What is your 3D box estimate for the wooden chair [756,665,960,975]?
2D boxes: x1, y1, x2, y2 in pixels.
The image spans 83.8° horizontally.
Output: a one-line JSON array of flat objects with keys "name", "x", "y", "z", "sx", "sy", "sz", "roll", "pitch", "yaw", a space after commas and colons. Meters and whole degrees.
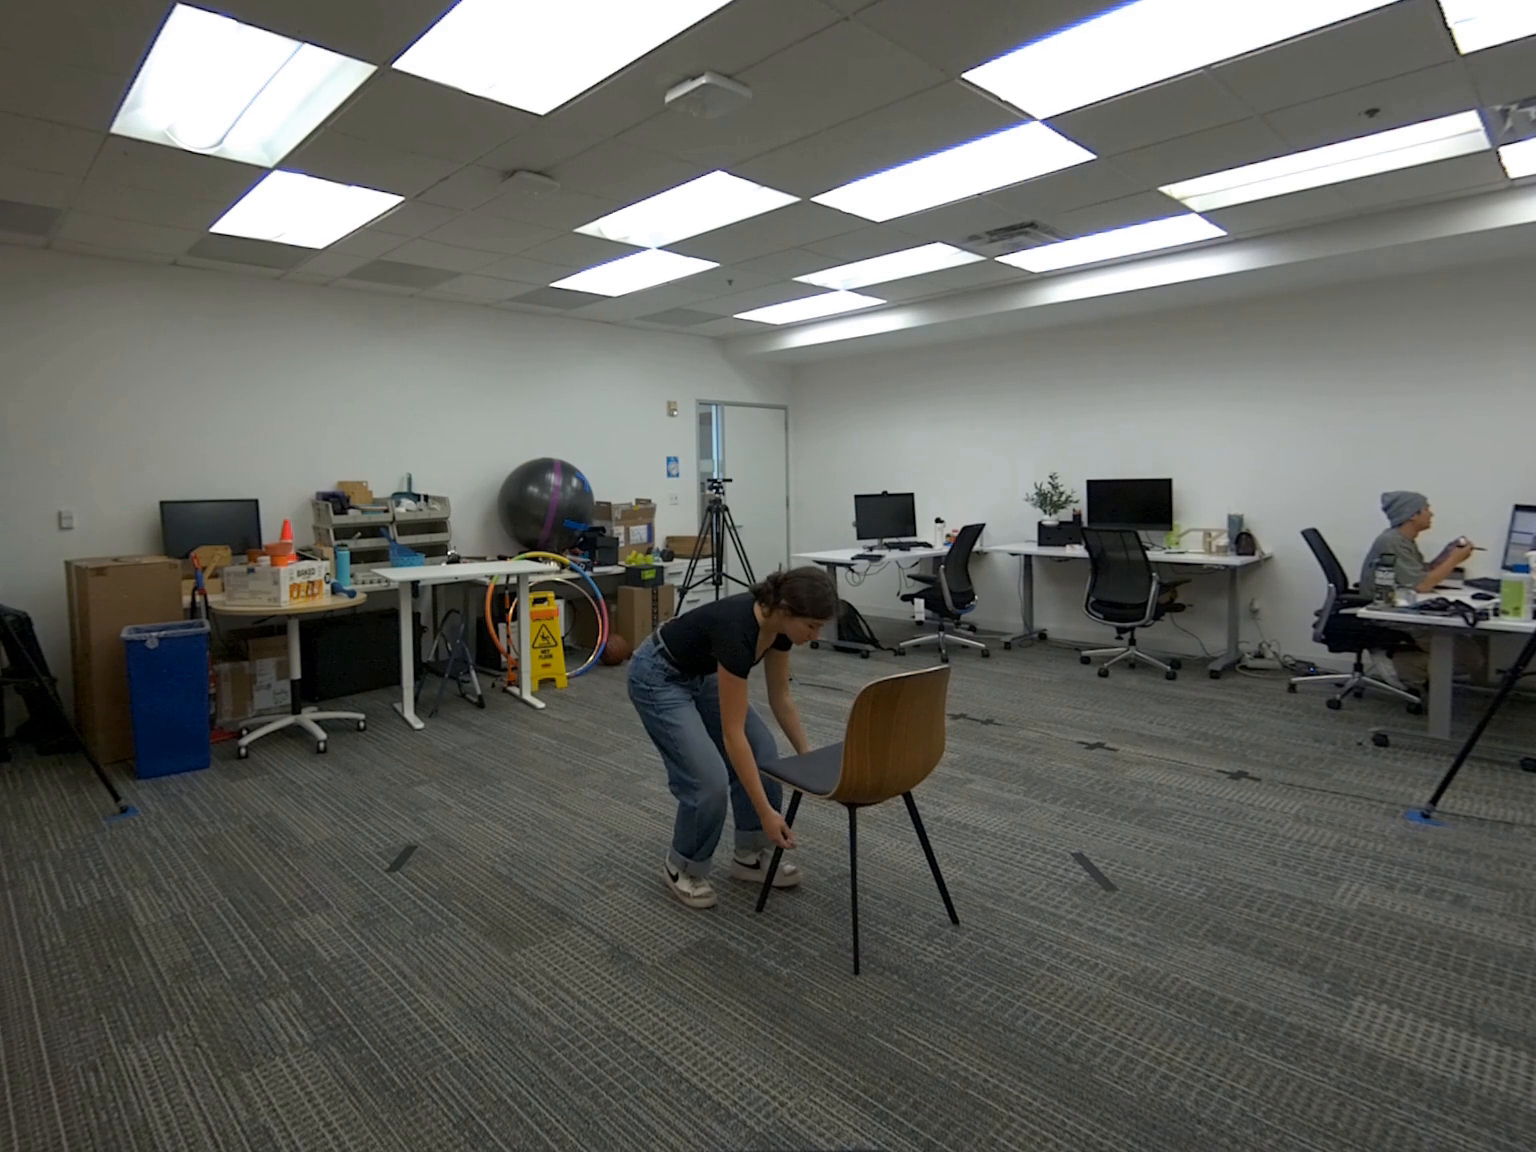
[{"name": "wooden chair", "x": 0.265, "y": 0.657, "z": 2.678, "sx": 0.466, "sy": 0.871, "sz": 0.540, "roll": -5, "pitch": 10, "yaw": -37}]
